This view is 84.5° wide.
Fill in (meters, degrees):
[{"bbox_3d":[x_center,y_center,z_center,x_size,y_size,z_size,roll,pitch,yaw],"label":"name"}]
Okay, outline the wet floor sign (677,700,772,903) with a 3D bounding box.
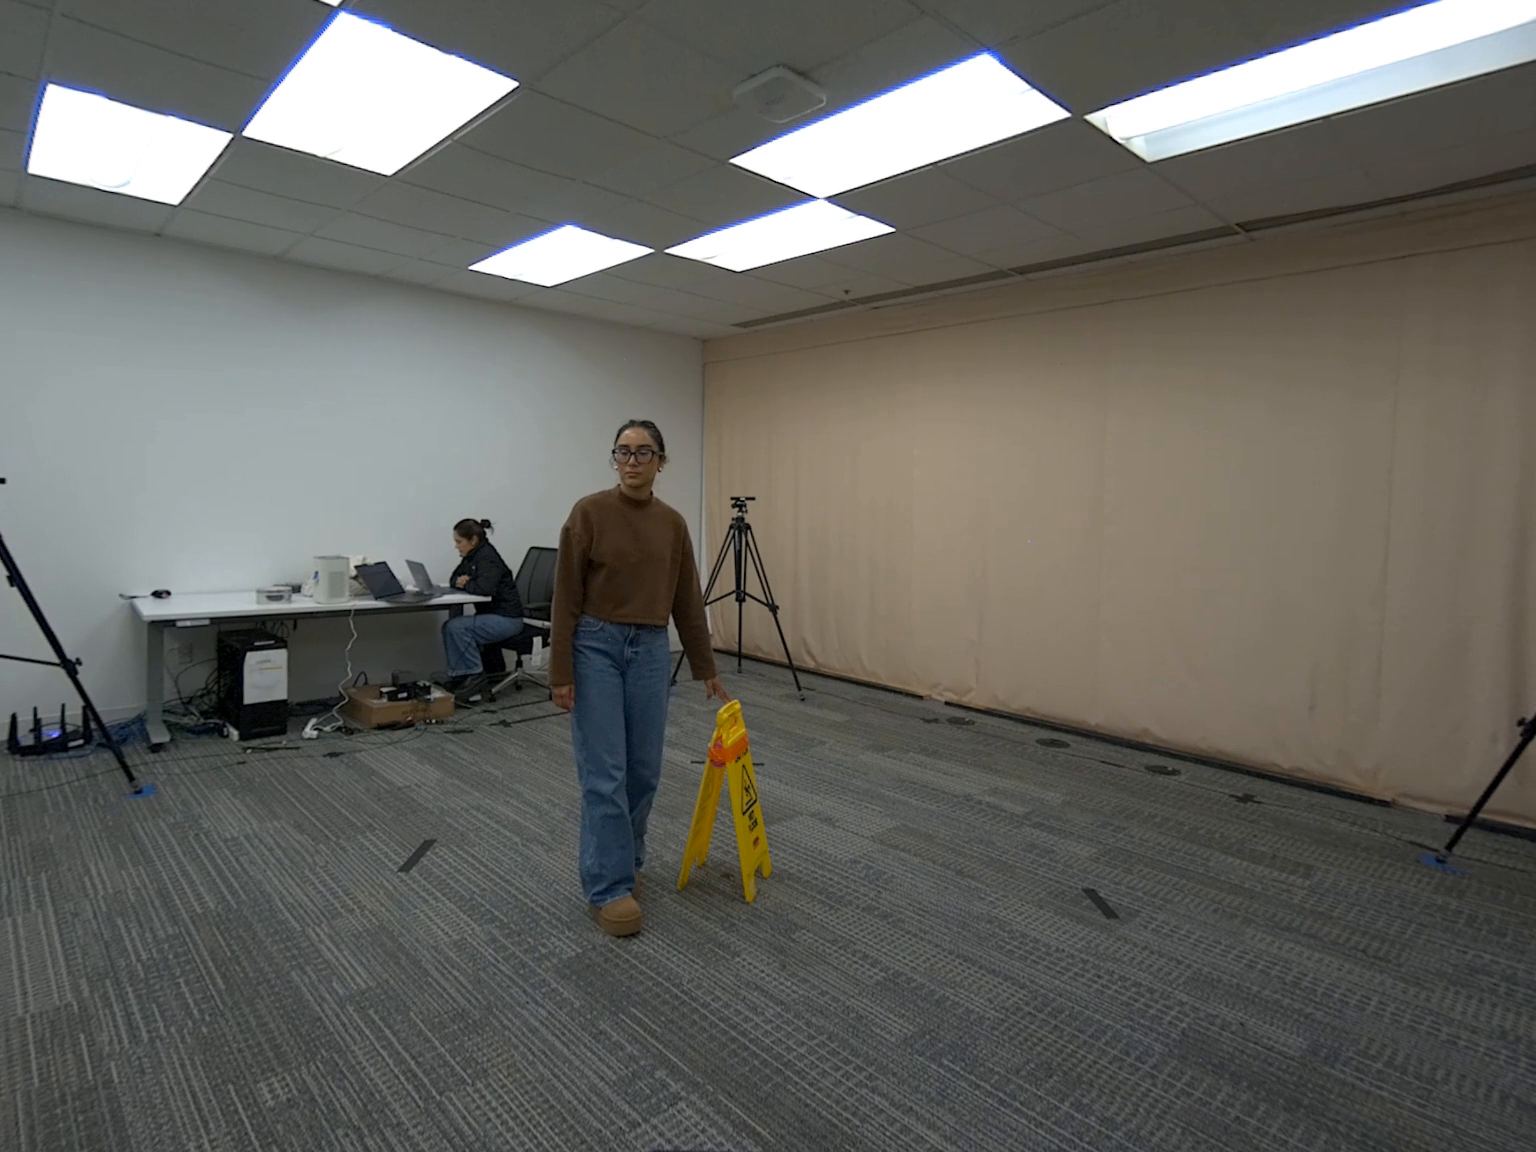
[{"bbox_3d":[-0.149,0.787,3.044,0.293,0.644,0.279,3,5,16],"label":"wet floor sign"}]
